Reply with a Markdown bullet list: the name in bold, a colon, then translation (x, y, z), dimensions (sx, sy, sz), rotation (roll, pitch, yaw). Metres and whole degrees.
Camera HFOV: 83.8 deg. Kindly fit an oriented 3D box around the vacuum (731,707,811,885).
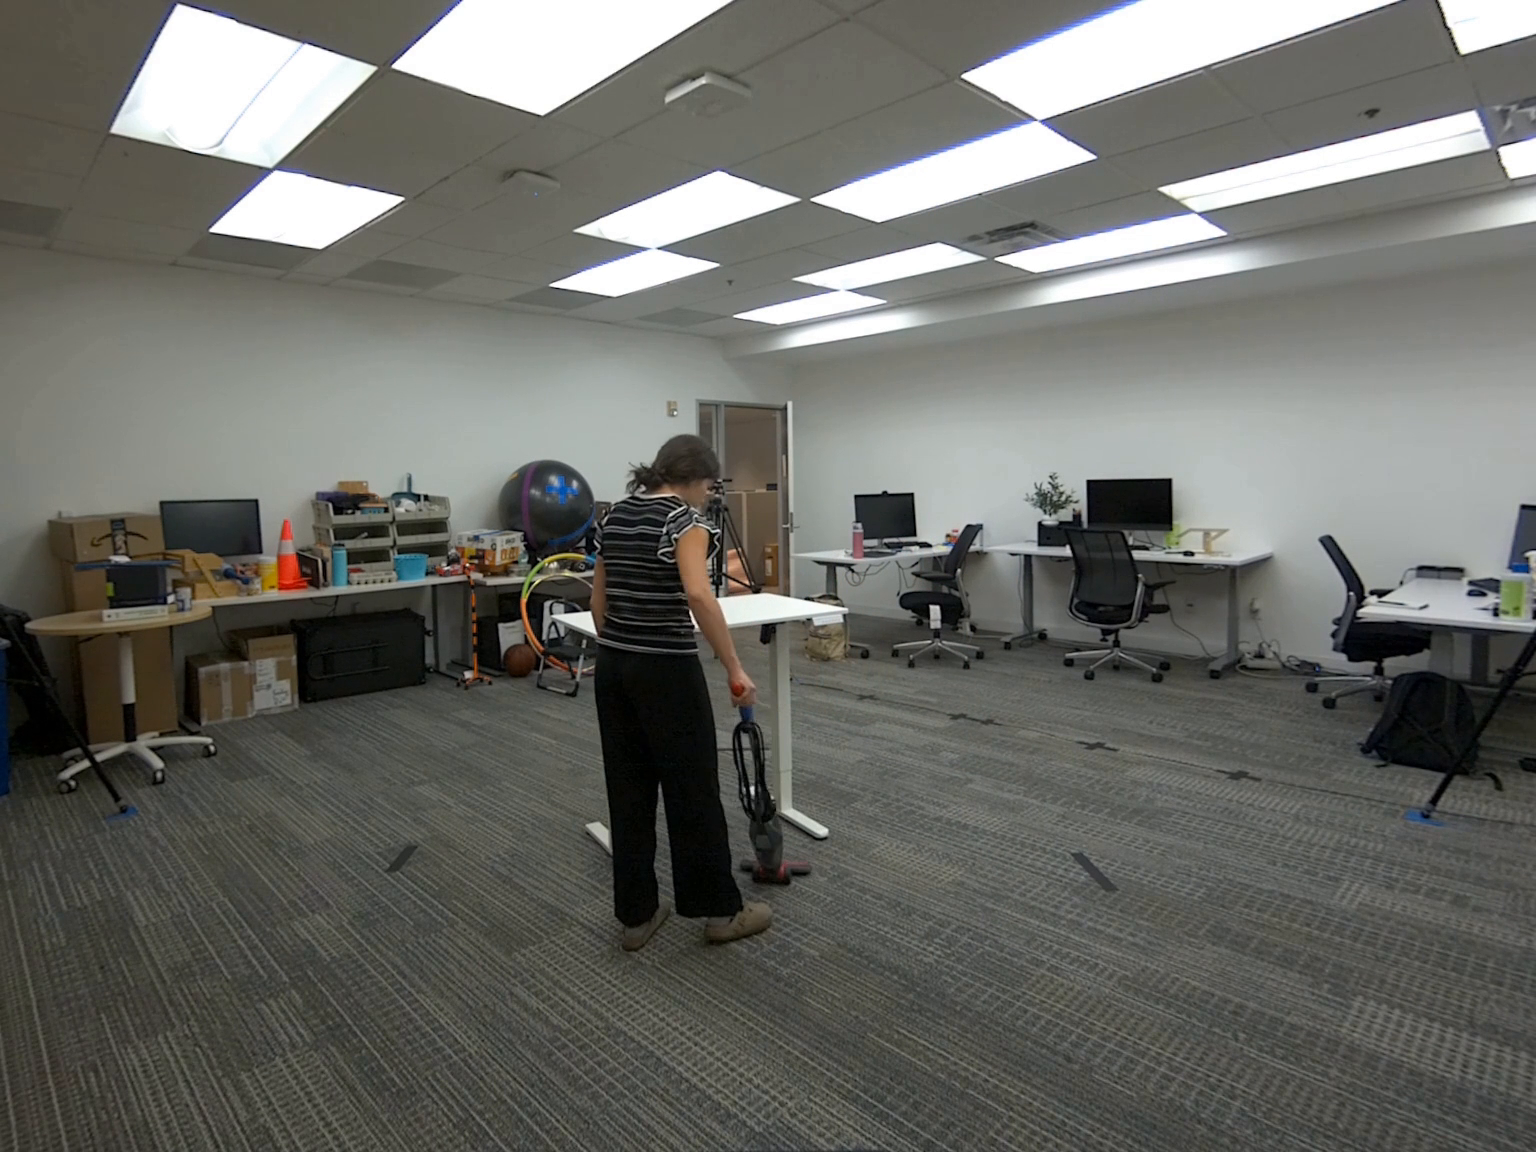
- **vacuum**: translation (-0.030, 0.674, 2.673), dimensions (0.255, 1.017, 0.147), rotation (2, 44, 9)
